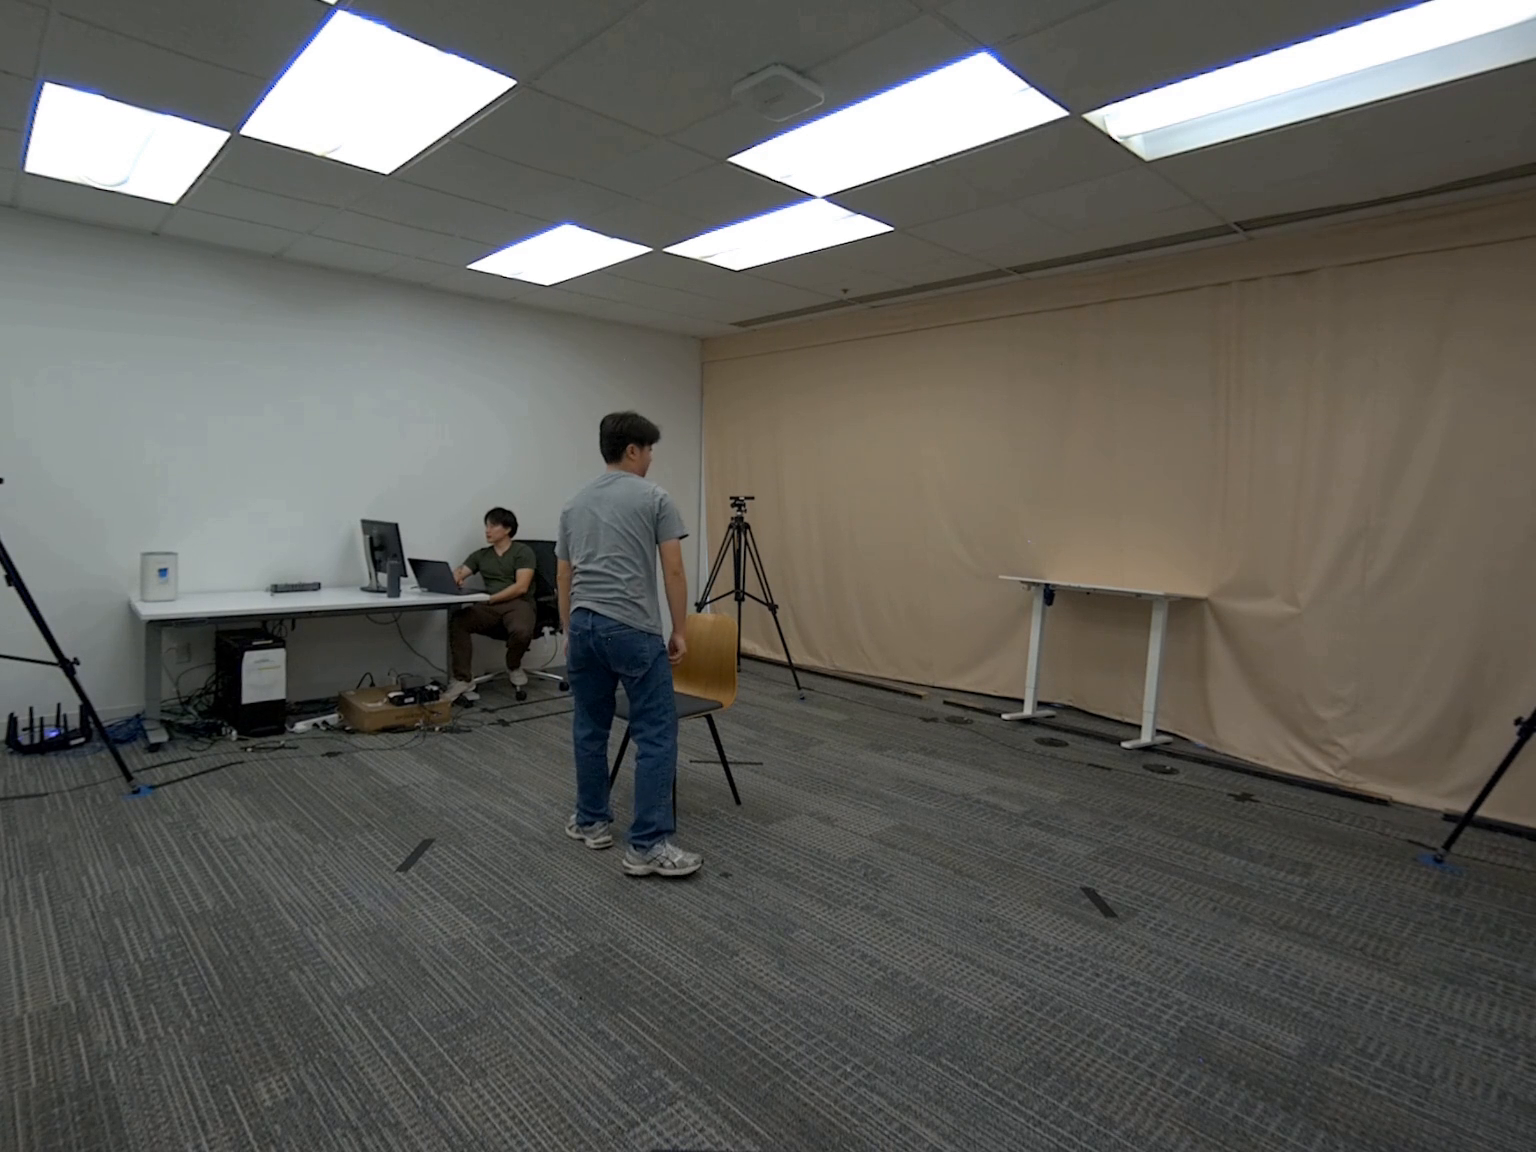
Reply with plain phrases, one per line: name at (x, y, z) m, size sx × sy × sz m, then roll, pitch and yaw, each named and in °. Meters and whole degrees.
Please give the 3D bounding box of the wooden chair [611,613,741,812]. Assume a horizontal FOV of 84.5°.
wooden chair at (-0.434, 0.614, 3.767) m, size 0.490 × 0.877 × 0.510 m, roll 4°, pitch 0°, yaw 38°
